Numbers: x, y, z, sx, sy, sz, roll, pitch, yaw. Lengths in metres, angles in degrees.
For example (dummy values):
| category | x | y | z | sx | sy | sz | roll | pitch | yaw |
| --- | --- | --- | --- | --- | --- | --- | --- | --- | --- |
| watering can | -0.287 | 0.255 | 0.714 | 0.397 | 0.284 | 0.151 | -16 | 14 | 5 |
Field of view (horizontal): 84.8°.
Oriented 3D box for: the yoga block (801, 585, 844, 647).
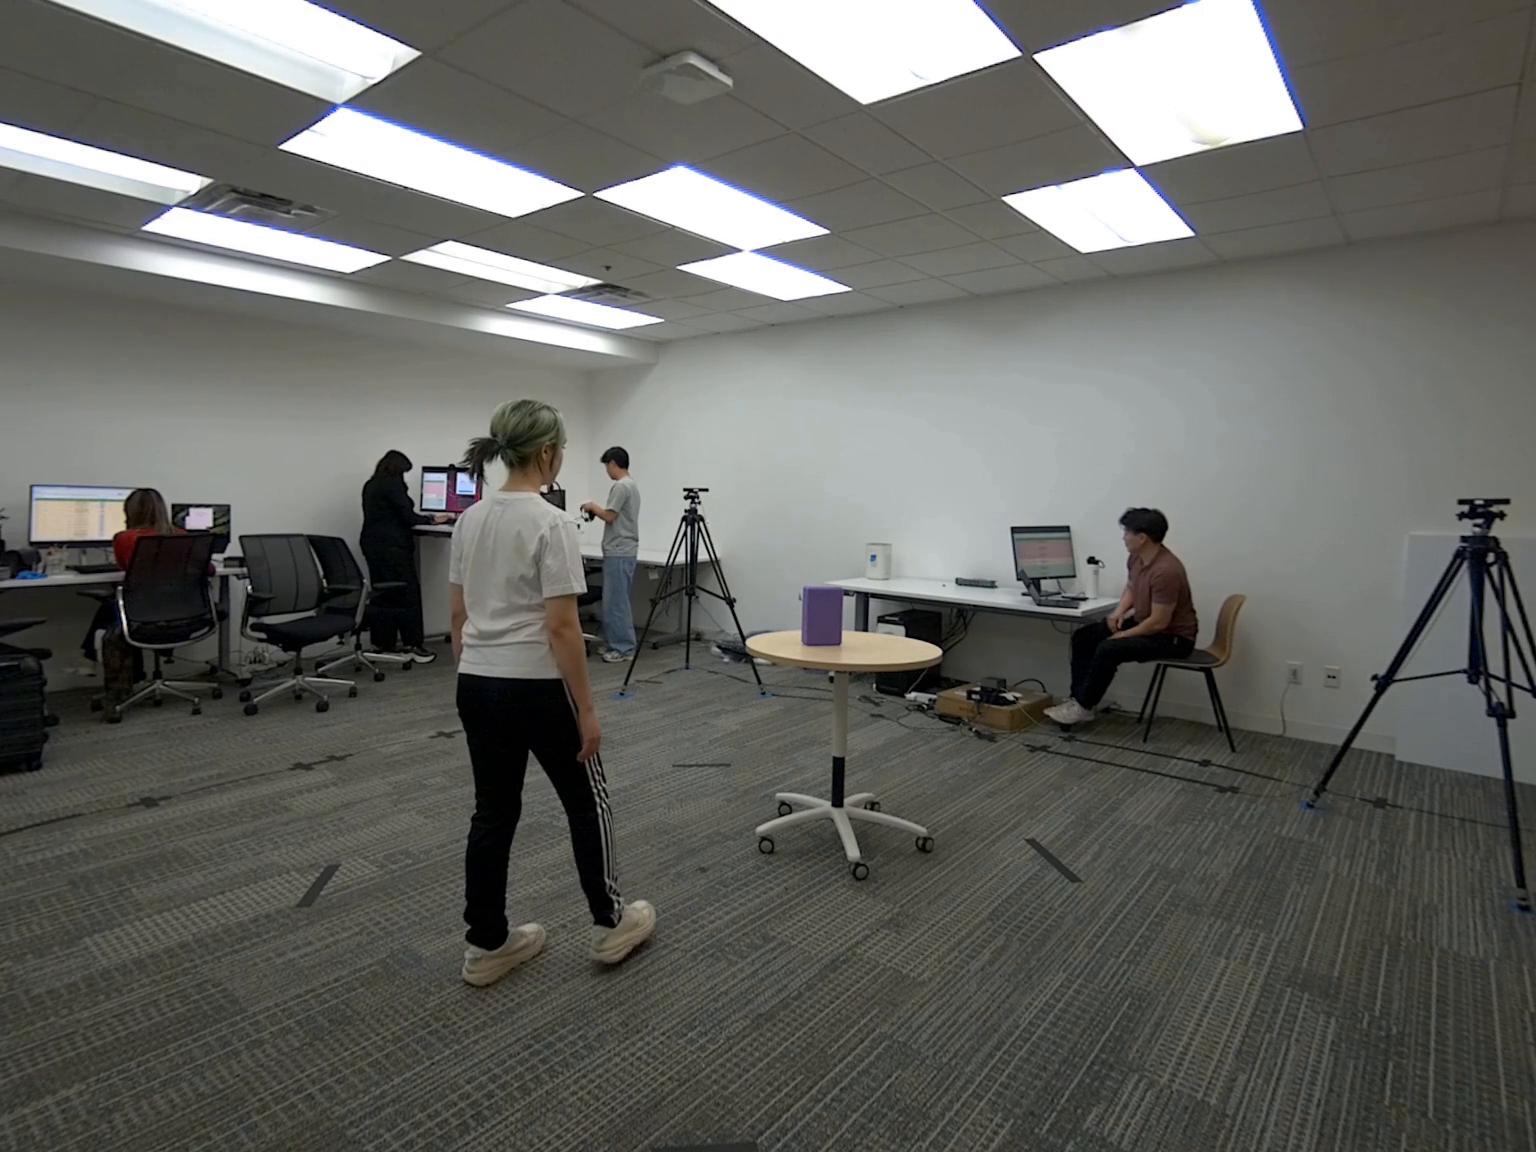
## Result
| category | x | y | z | sx | sy | sz | roll | pitch | yaw |
| --- | --- | --- | --- | --- | --- | --- | --- | --- | --- |
| yoga block | 0.211 | 0.155 | 3.369 | 0.147 | 0.229 | 0.077 | 4 | 2 | -10 |
